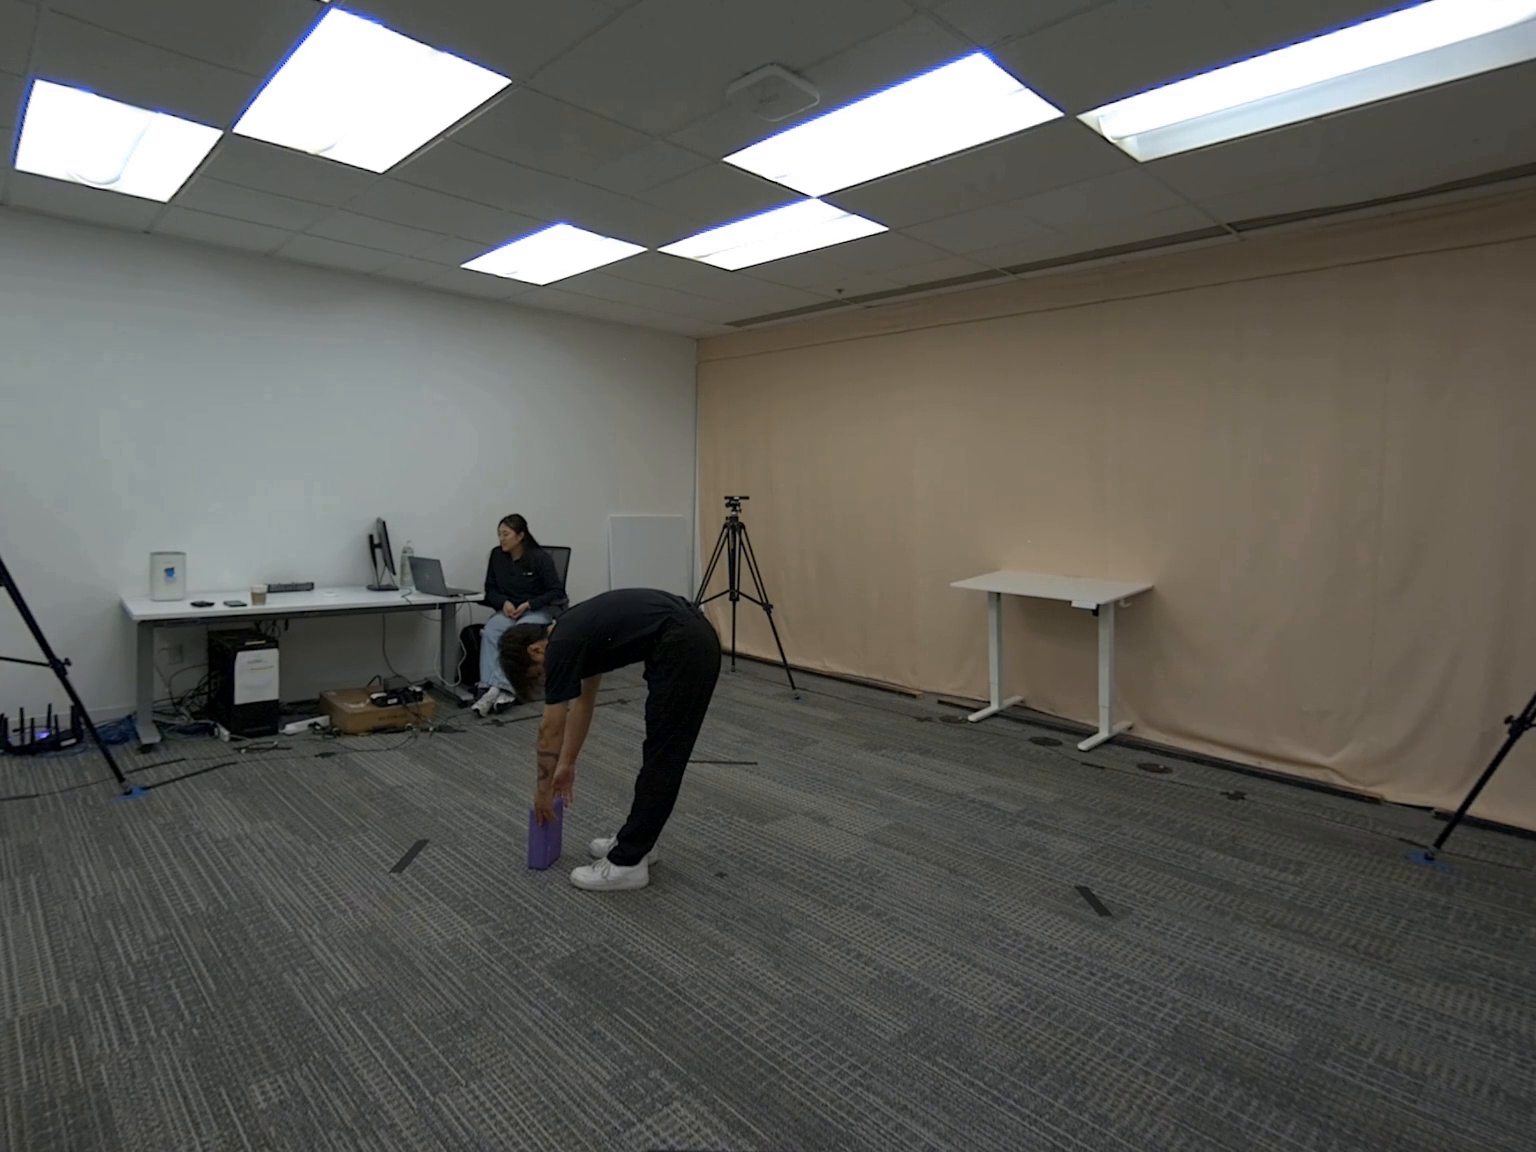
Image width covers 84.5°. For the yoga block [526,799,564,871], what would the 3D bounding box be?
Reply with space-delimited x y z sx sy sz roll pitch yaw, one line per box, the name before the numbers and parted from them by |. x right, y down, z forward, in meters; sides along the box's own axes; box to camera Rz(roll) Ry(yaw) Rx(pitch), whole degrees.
yoga block | -0.838 0.964 3.172 0.077 0.229 0.148 2 2 9
